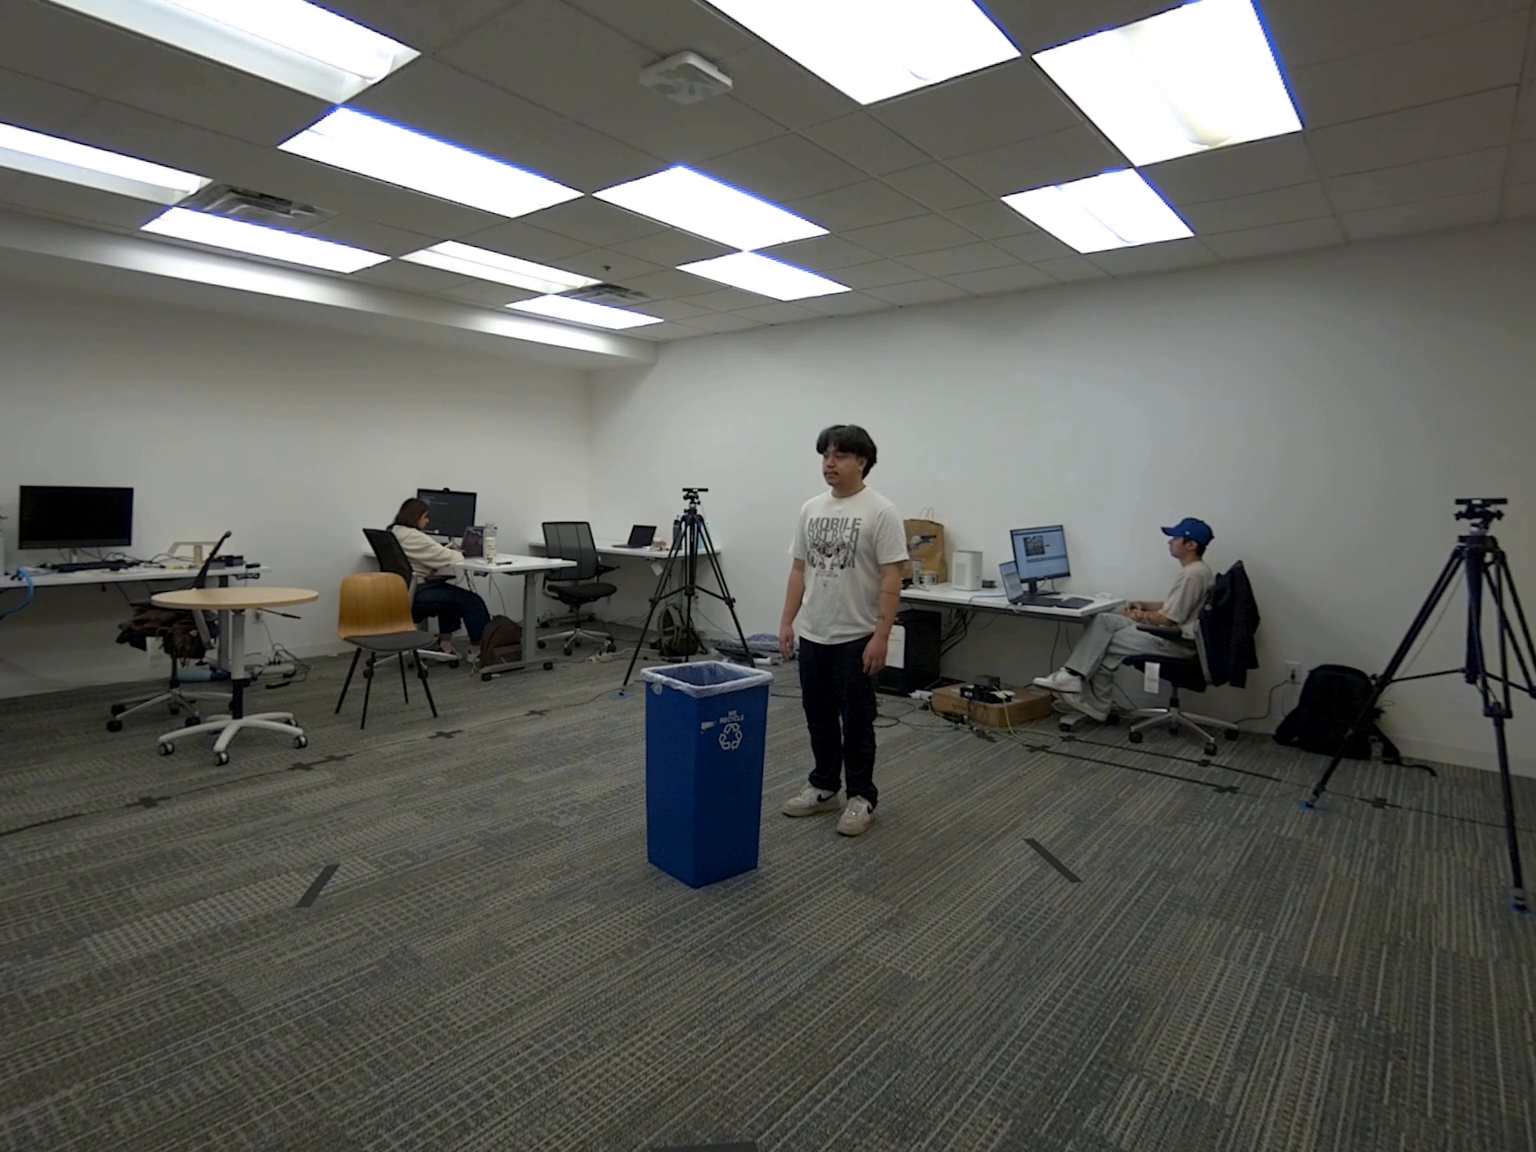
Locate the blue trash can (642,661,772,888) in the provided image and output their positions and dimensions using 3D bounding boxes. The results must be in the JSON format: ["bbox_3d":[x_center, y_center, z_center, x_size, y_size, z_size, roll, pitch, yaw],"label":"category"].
[{"bbox_3d":[-0.240,0.707,3.145,0.363,0.711,0.391,-2,4,-41],"label":"blue trash can"}]
